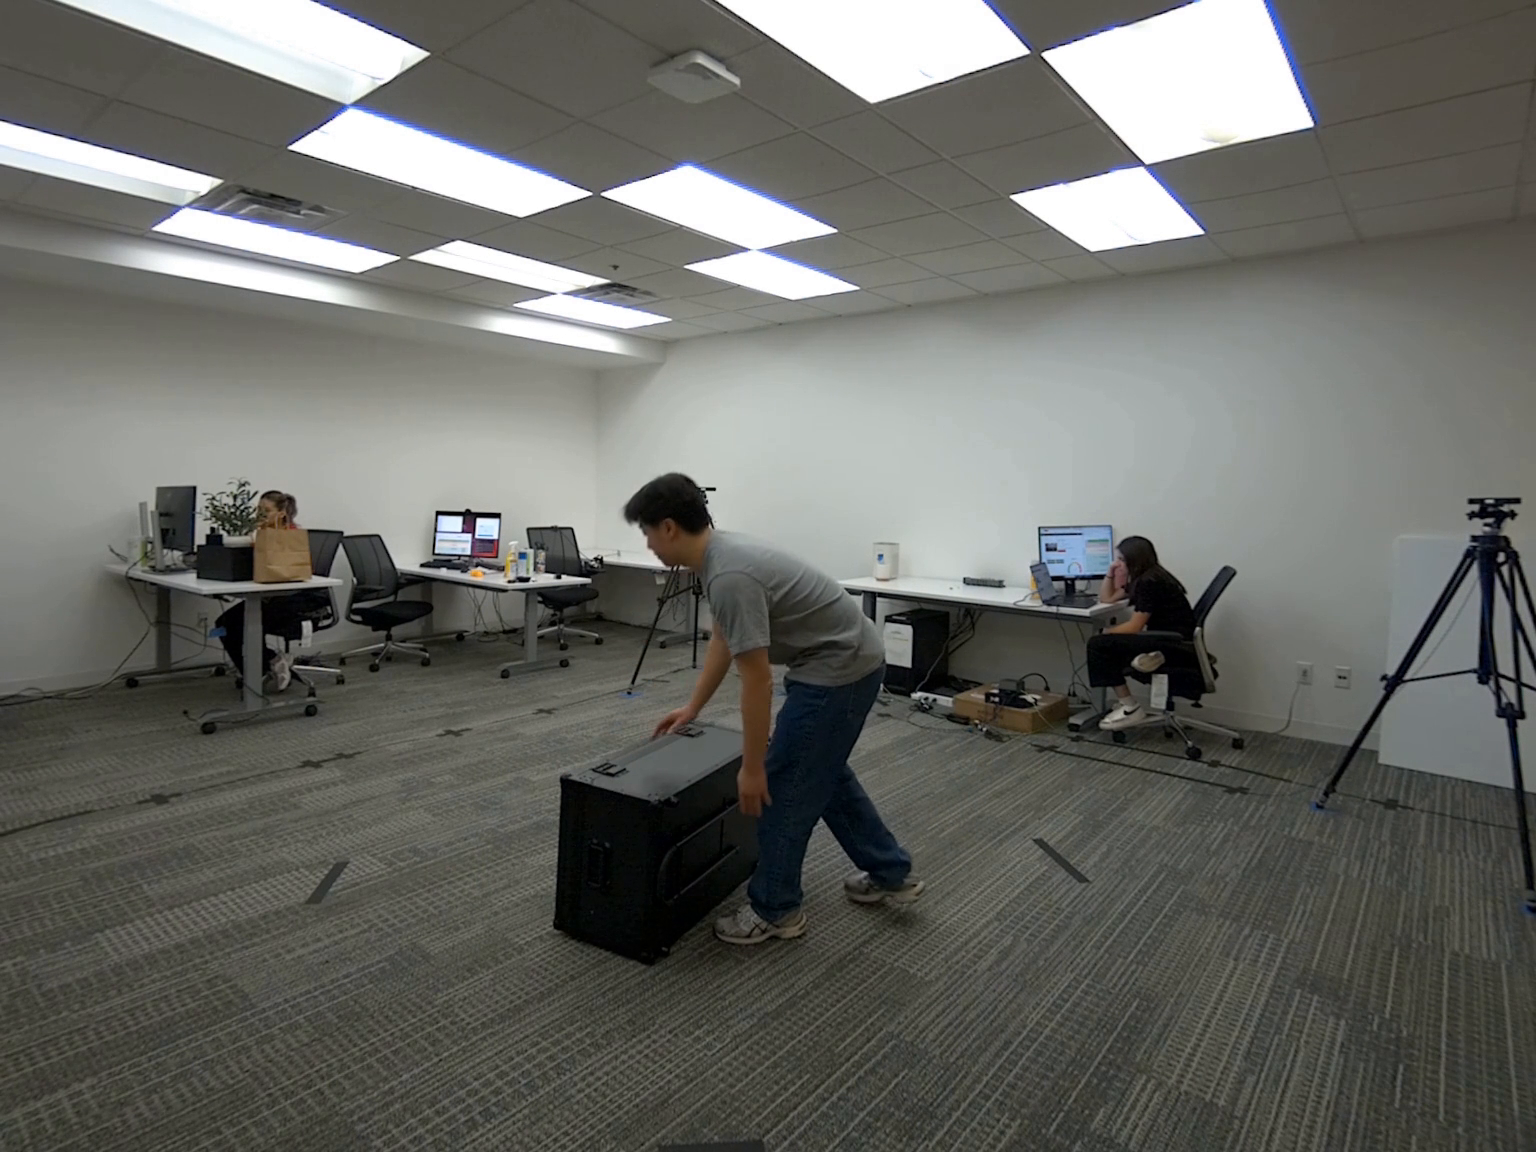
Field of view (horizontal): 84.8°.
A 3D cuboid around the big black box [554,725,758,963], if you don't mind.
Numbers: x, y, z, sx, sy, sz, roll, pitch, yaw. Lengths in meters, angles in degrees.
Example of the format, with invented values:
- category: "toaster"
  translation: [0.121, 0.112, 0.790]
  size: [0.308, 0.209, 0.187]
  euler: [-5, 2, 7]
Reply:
- category: "big black box"
  translation: [-0.310, 0.828, 2.887]
  size: [0.407, 0.519, 0.842]
  euler: [5, 6, 25]
